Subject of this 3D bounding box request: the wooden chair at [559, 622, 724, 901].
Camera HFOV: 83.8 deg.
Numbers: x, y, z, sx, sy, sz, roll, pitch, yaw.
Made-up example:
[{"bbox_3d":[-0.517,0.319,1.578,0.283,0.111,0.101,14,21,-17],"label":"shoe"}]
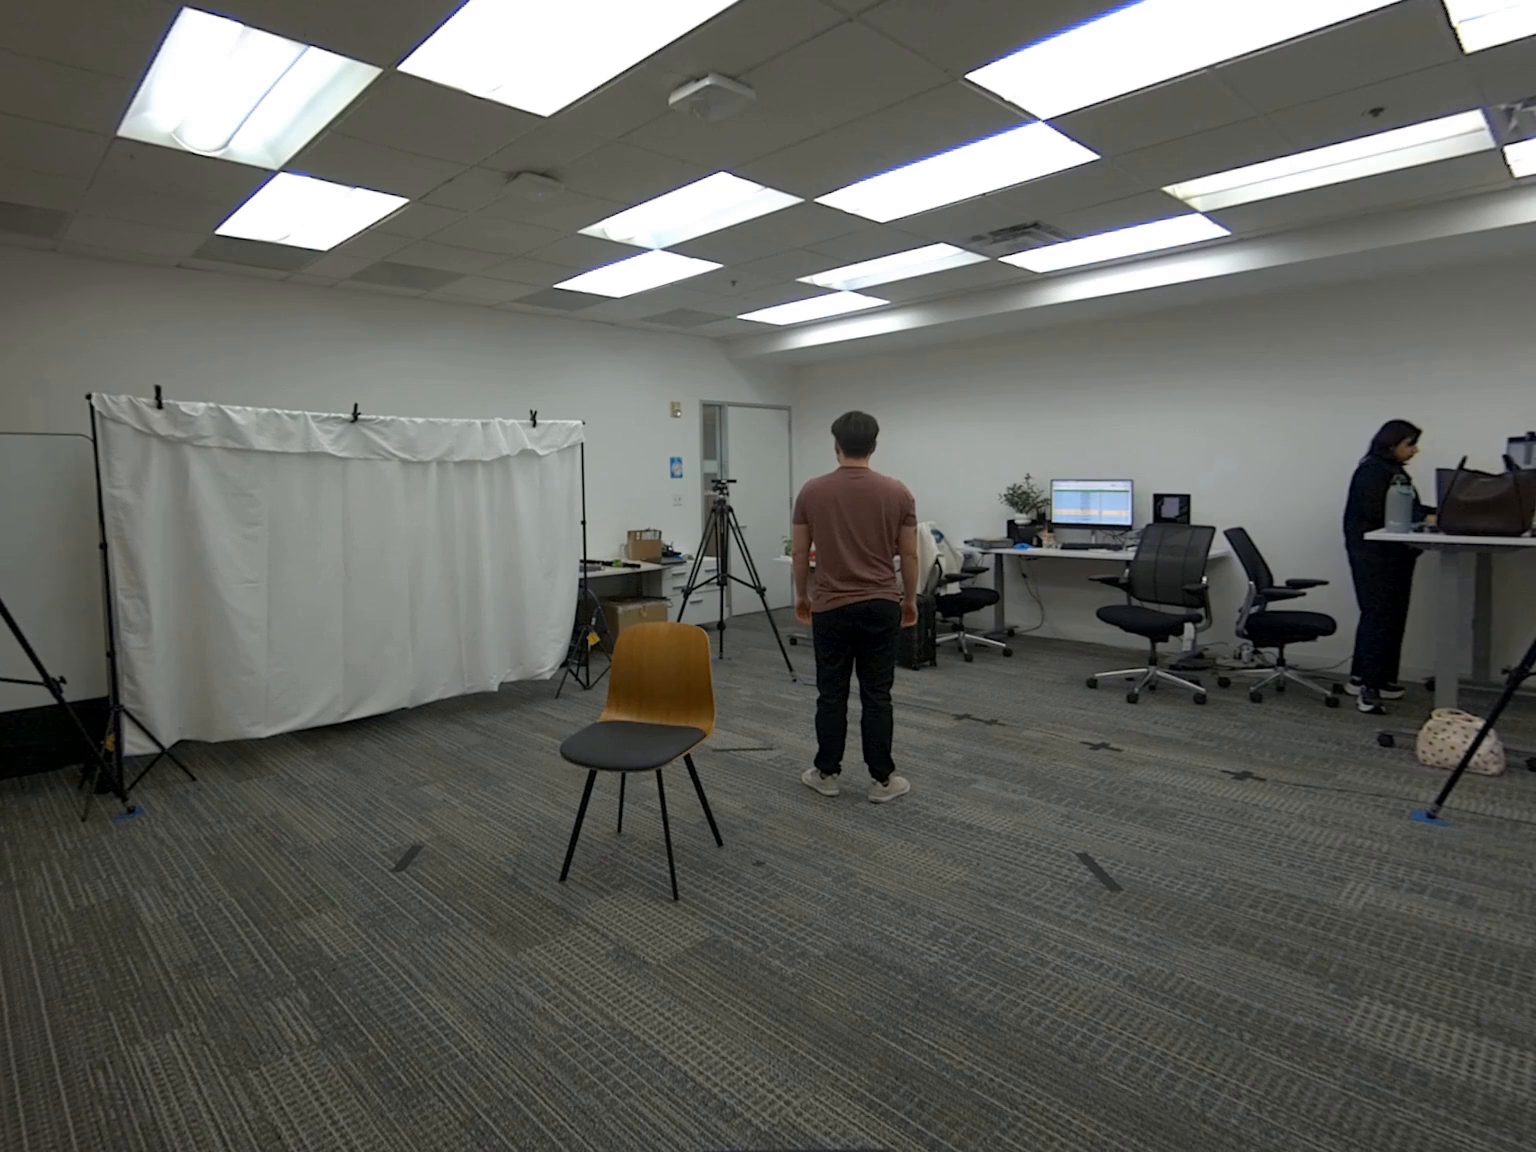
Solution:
[{"bbox_3d":[-0.456,0.630,3.089,0.487,0.877,0.513,1,1,19],"label":"wooden chair"}]
